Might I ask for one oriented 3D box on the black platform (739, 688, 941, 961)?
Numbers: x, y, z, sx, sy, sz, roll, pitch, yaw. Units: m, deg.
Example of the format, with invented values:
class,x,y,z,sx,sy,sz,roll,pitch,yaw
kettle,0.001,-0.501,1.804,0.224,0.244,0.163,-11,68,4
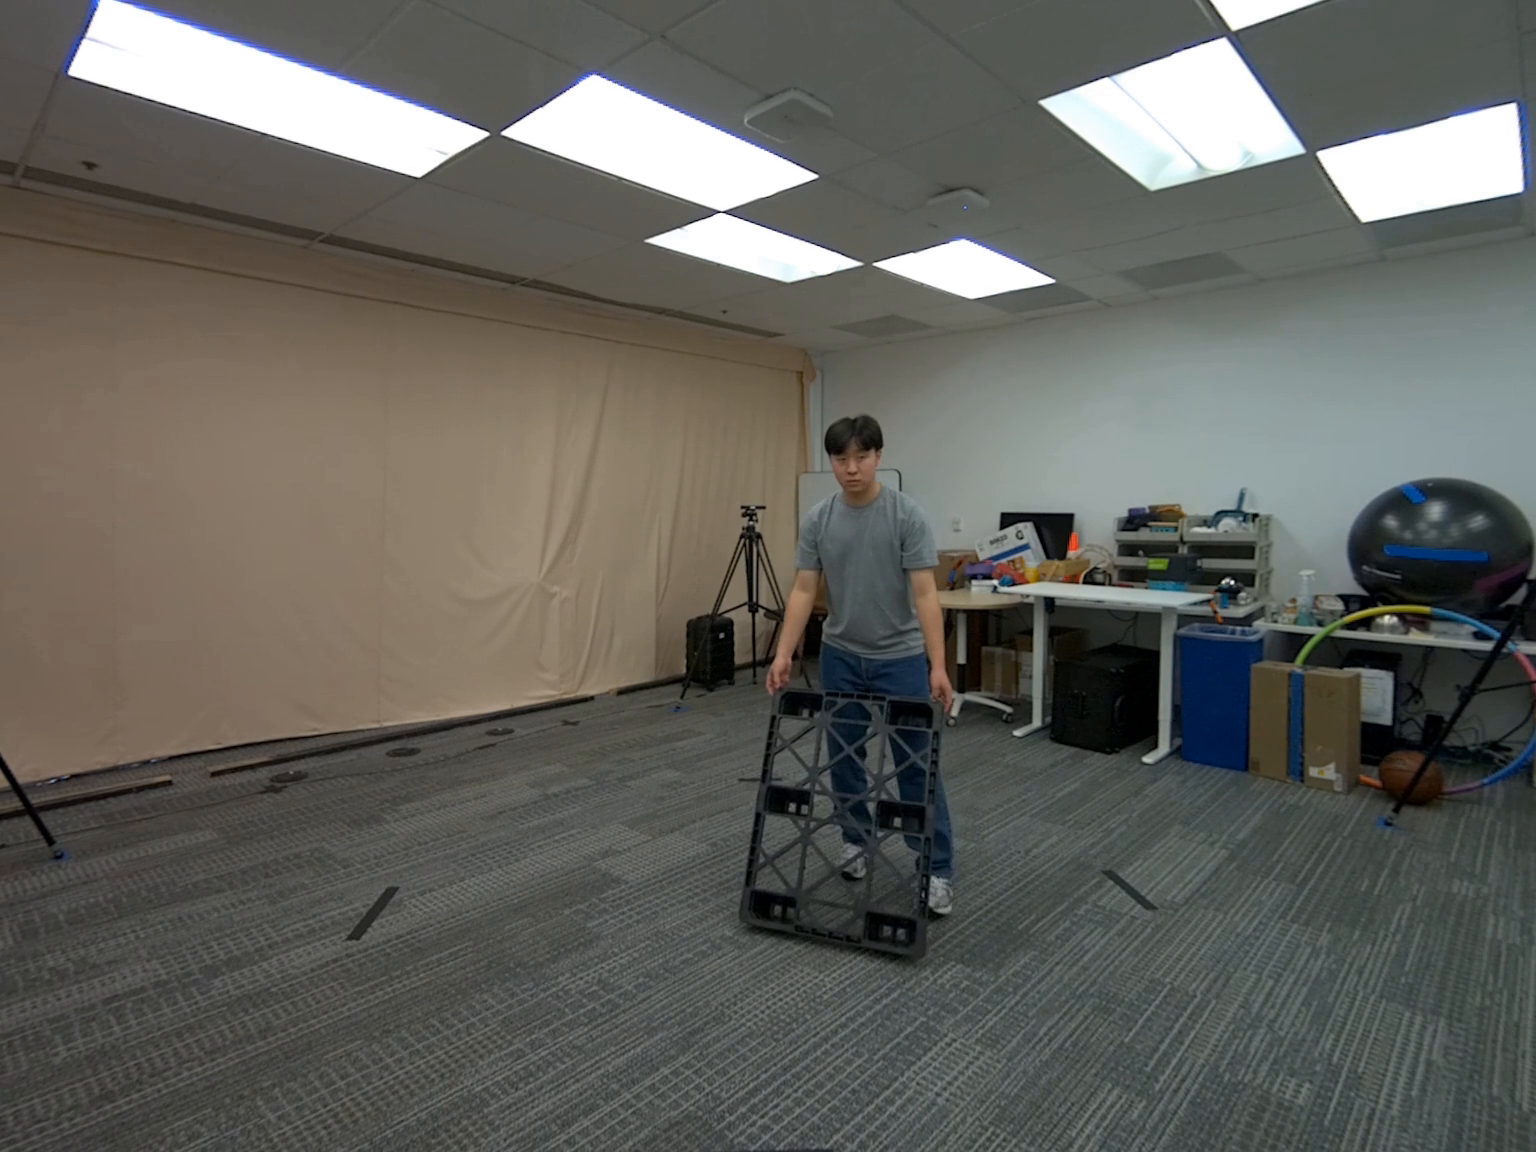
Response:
class,x,y,z,sx,sy,sz,roll,pitch,yaw
black platform,0.260,0.805,2.846,0.619,0.813,0.139,0,-25,22
